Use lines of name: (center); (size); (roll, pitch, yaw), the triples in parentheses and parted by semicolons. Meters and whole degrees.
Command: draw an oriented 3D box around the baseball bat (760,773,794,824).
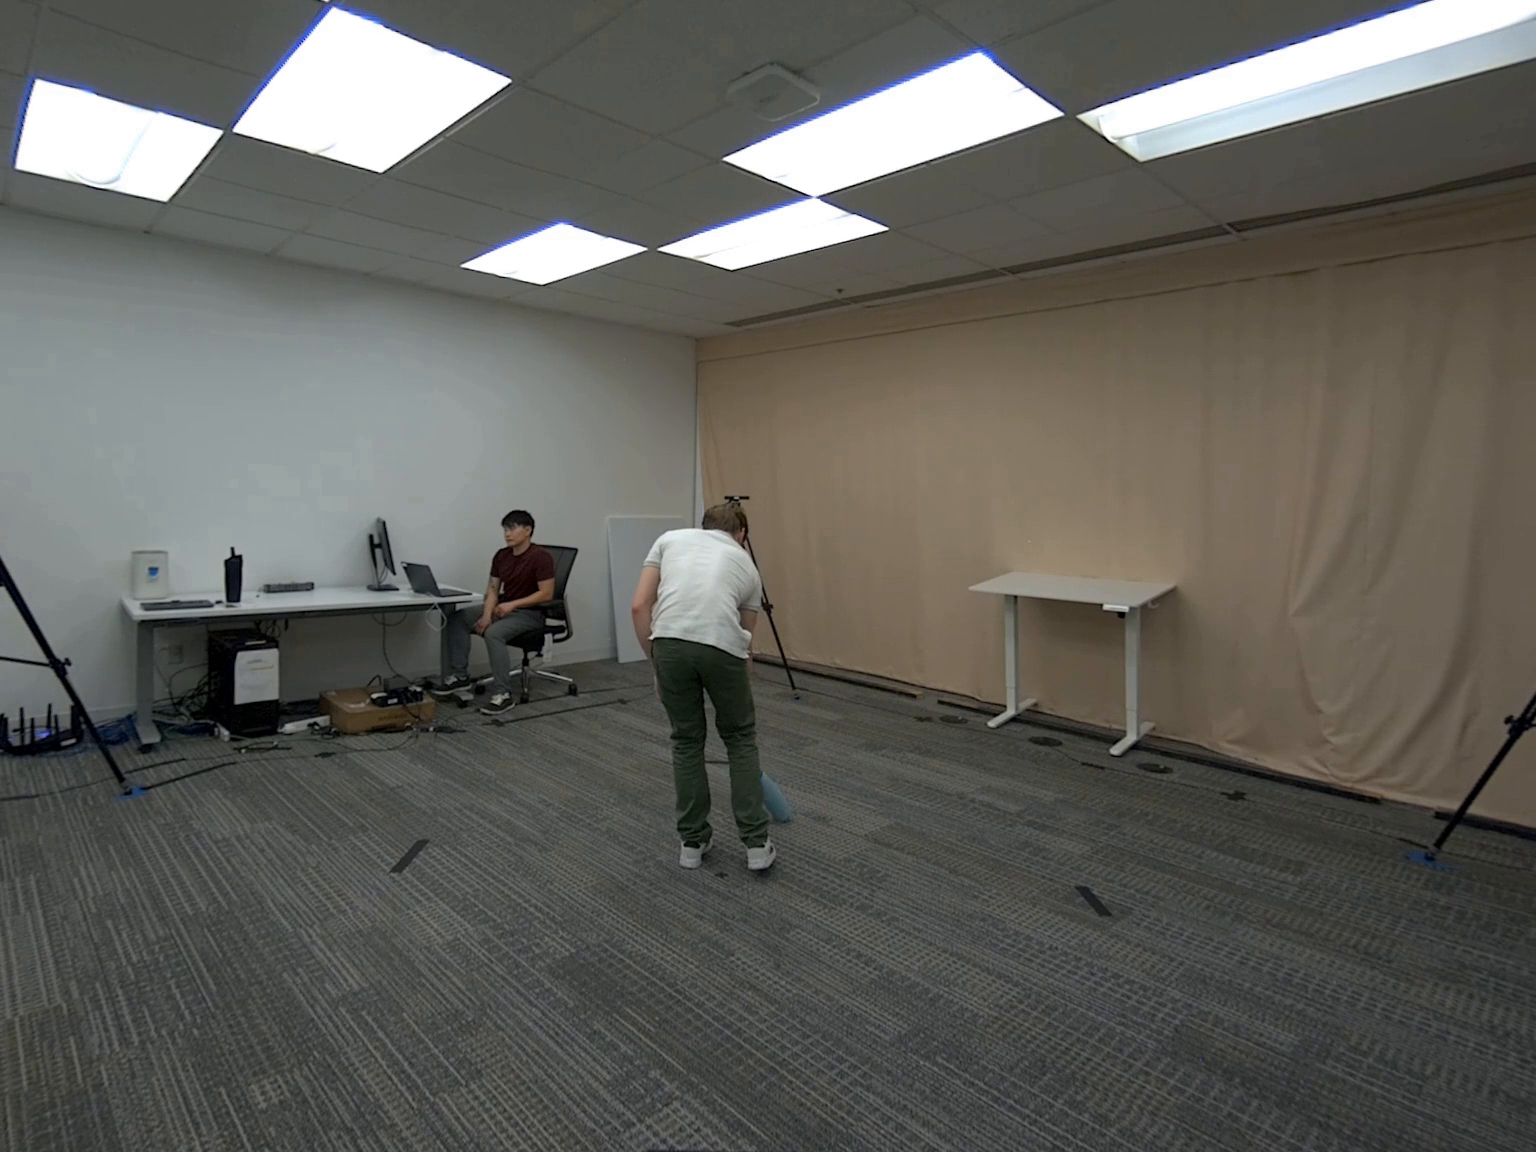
baseball bat: (-0.068, 0.842, 3.571); (0.089, 0.532, 0.090); (-30, 21, 12)
